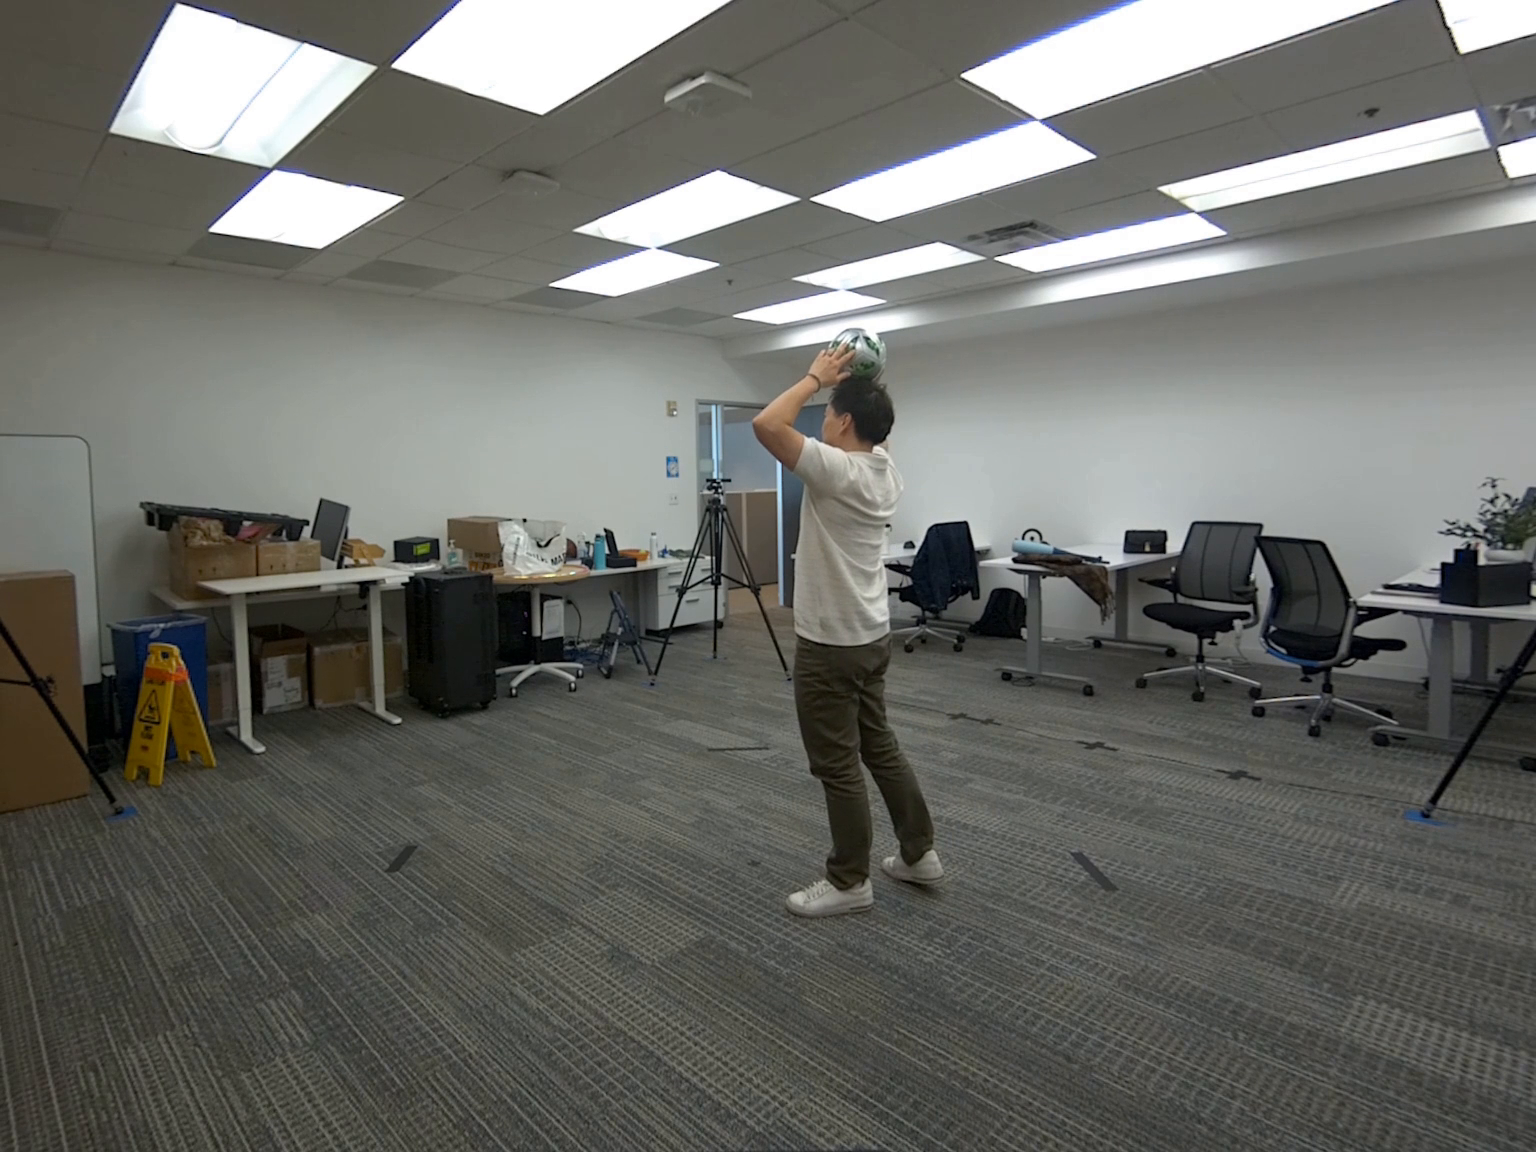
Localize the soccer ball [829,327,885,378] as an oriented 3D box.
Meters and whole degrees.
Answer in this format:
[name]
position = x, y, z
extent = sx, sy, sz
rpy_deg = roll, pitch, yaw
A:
[soccer ball]
position = 0.286, -0.699, 2.741
extent = 0.187, 0.187, 0.188
rpy_deg = -1, 5, -2
